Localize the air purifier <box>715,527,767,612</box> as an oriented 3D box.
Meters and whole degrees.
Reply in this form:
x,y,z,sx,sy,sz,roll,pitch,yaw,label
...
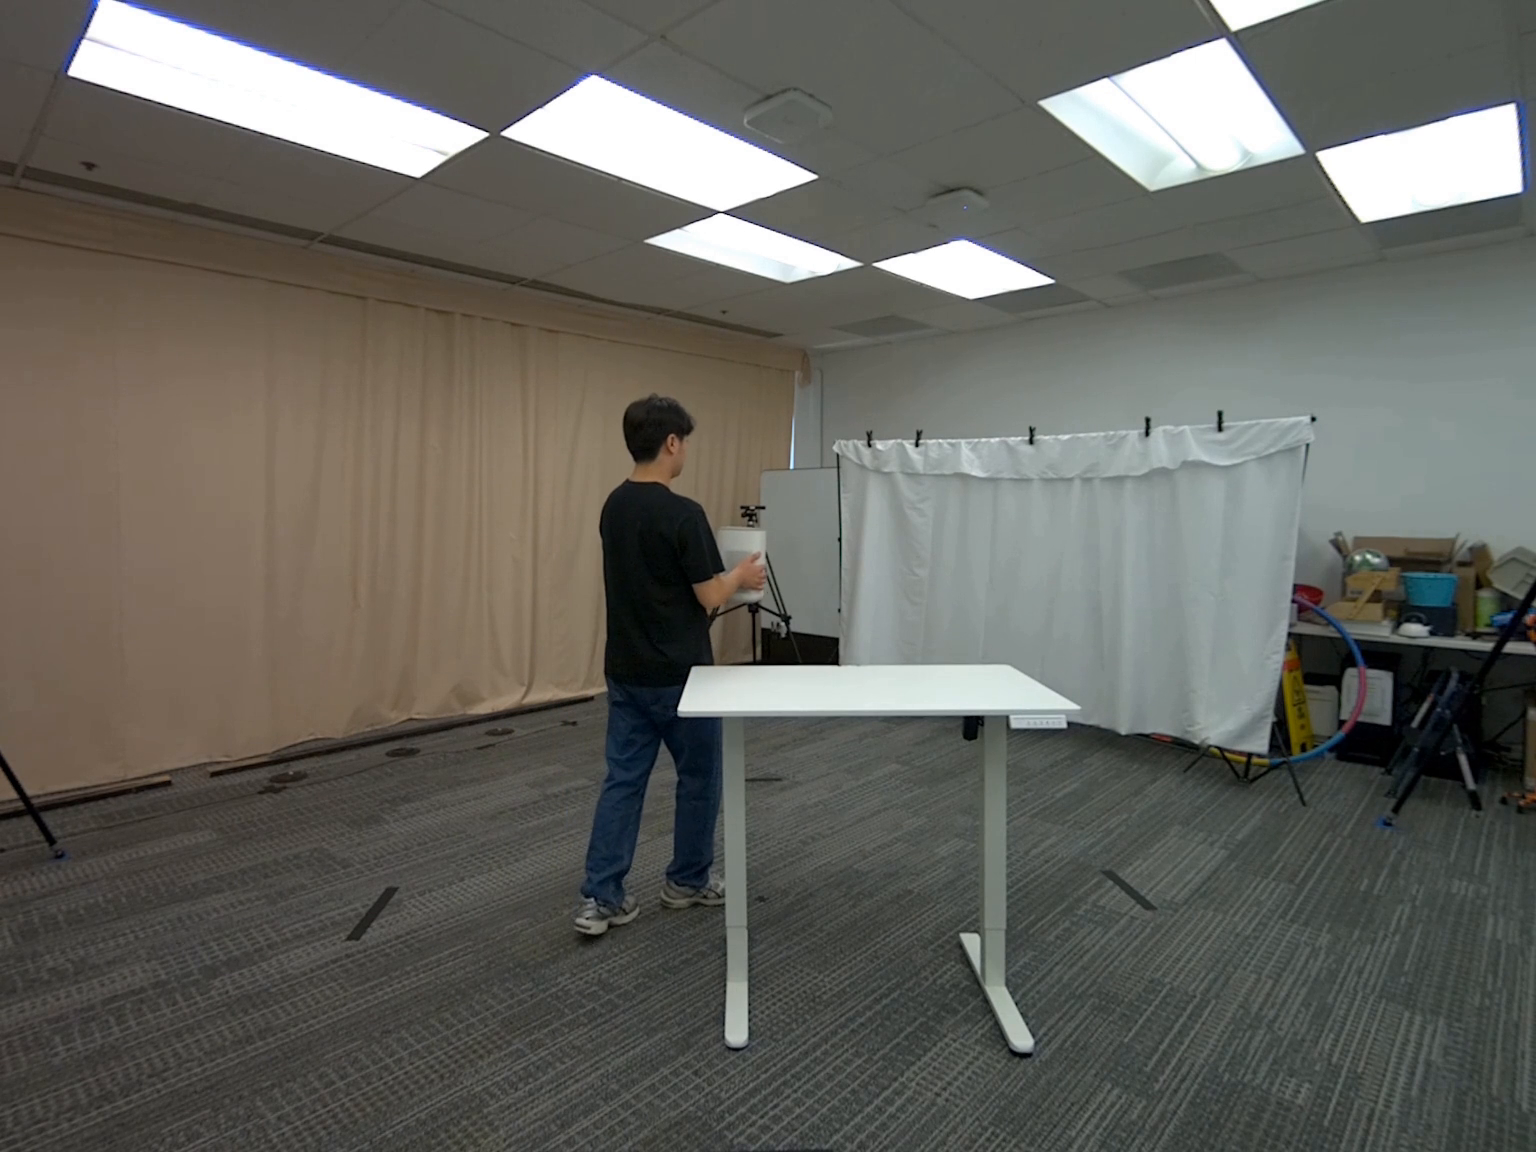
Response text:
x,y,z,sx,sy,sz,roll,pitch,yaw,label
-0.104,-0.041,3.059,0.173,0.265,0.170,1,2,5,air purifier
